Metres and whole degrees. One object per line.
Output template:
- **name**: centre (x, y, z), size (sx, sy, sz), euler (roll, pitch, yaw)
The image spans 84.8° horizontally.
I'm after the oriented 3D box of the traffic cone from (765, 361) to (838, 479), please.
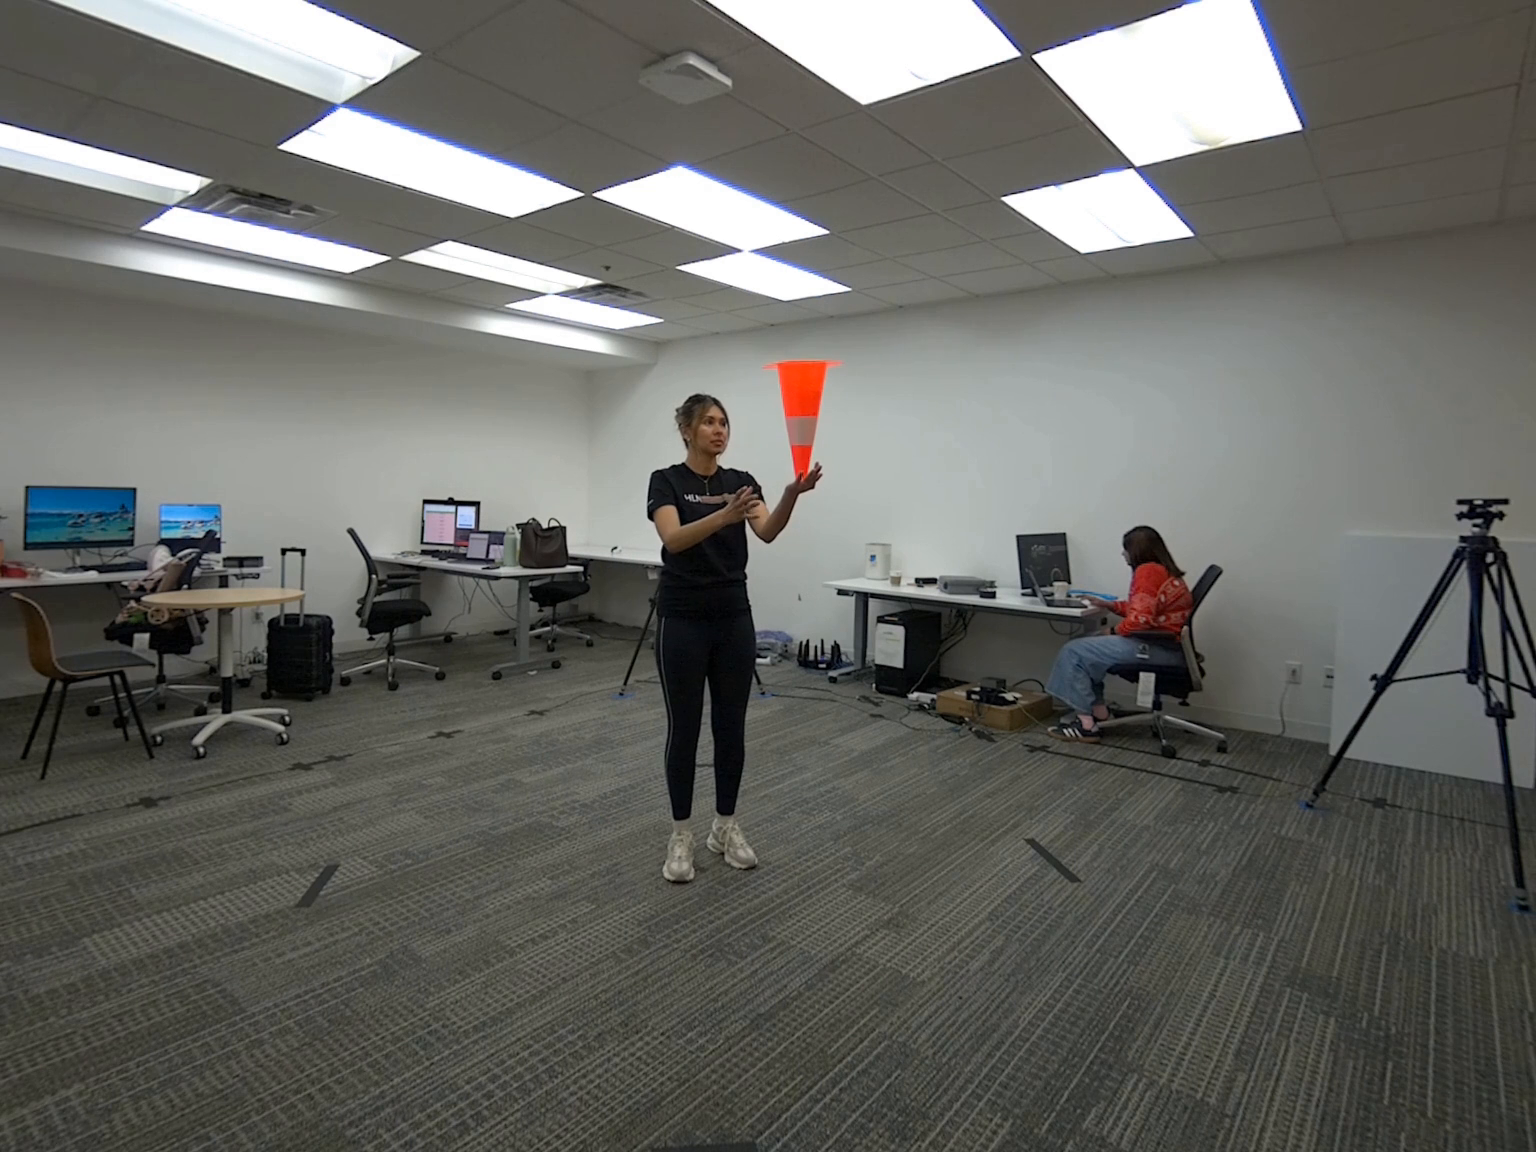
- **traffic cone**: centre (0.101, -0.485, 2.713), size (0.198, 0.382, 0.211), euler (-3, 5, -31)
